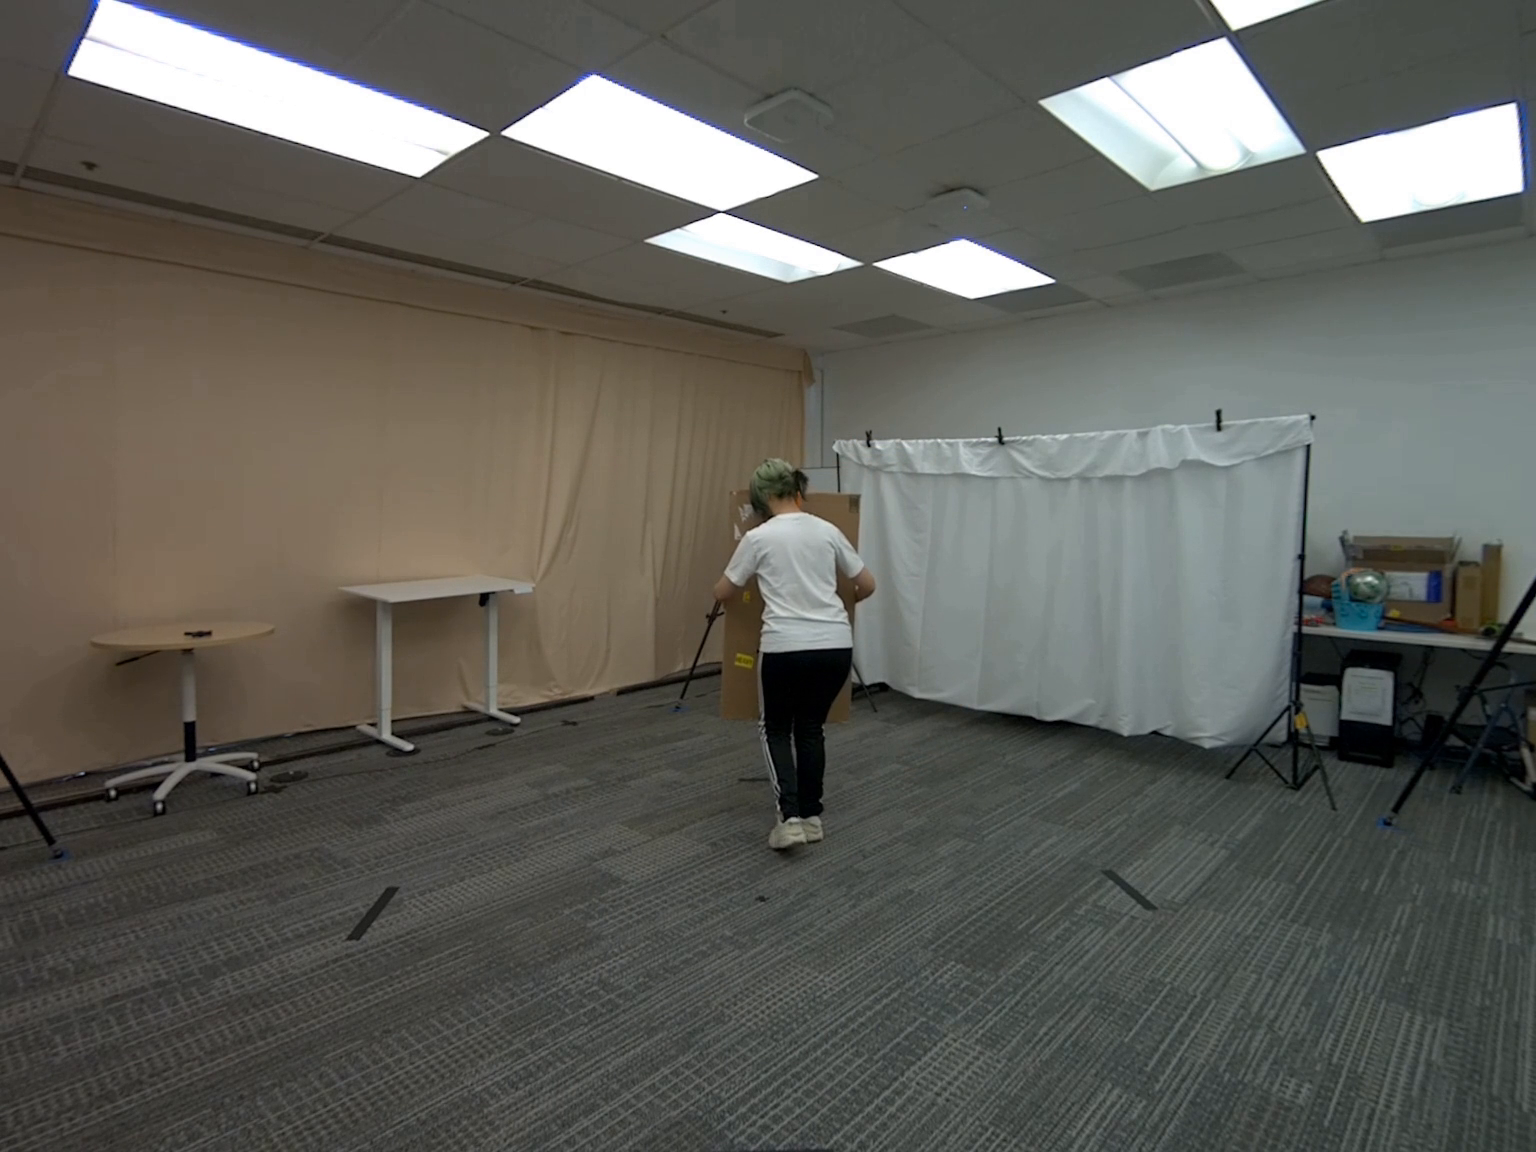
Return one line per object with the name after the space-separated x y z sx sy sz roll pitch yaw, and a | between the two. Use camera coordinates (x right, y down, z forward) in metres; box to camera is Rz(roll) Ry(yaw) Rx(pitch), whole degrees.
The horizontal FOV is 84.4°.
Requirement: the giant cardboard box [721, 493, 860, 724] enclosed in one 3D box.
0.085 0.125 3.921 0.583 1.025 0.448 2 2 -1 | giant cardboard box
